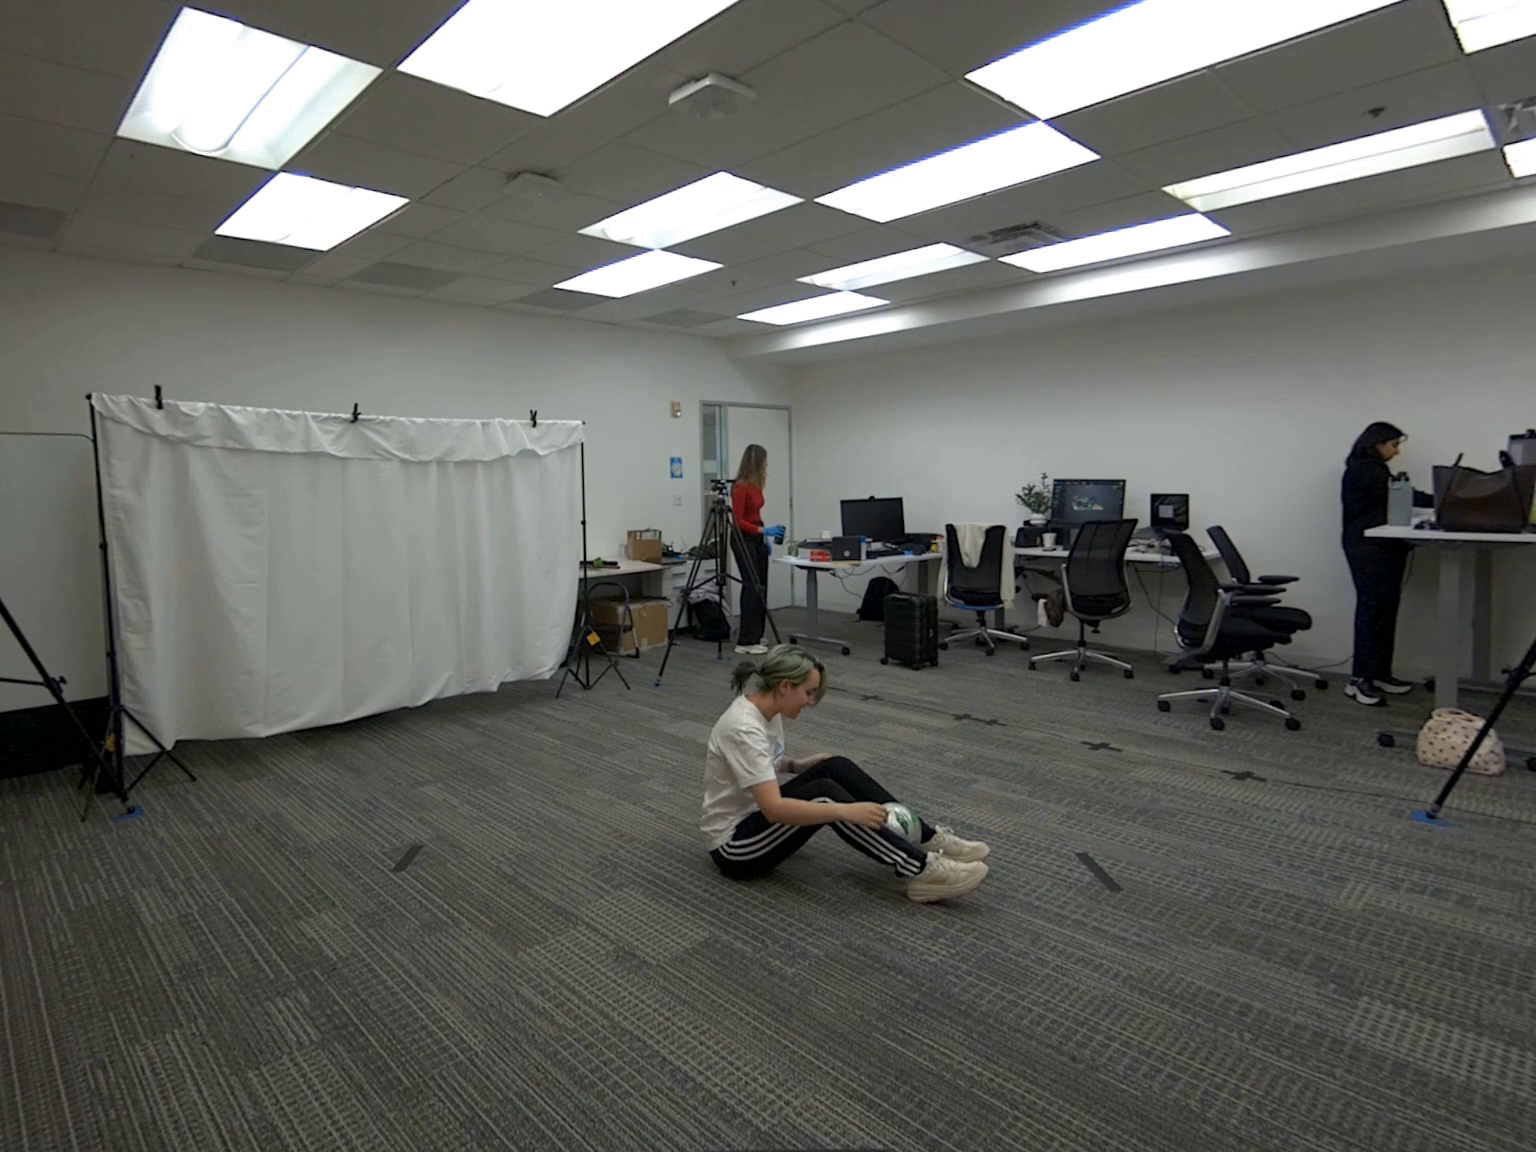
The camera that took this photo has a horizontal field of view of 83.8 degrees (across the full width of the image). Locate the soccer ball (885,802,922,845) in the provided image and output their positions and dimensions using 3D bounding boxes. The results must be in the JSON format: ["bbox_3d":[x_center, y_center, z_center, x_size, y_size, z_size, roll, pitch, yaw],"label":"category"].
[{"bbox_3d":[0.431,0.886,2.976,0.187,0.187,0.188,-1,5,-2],"label":"soccer ball"}]
